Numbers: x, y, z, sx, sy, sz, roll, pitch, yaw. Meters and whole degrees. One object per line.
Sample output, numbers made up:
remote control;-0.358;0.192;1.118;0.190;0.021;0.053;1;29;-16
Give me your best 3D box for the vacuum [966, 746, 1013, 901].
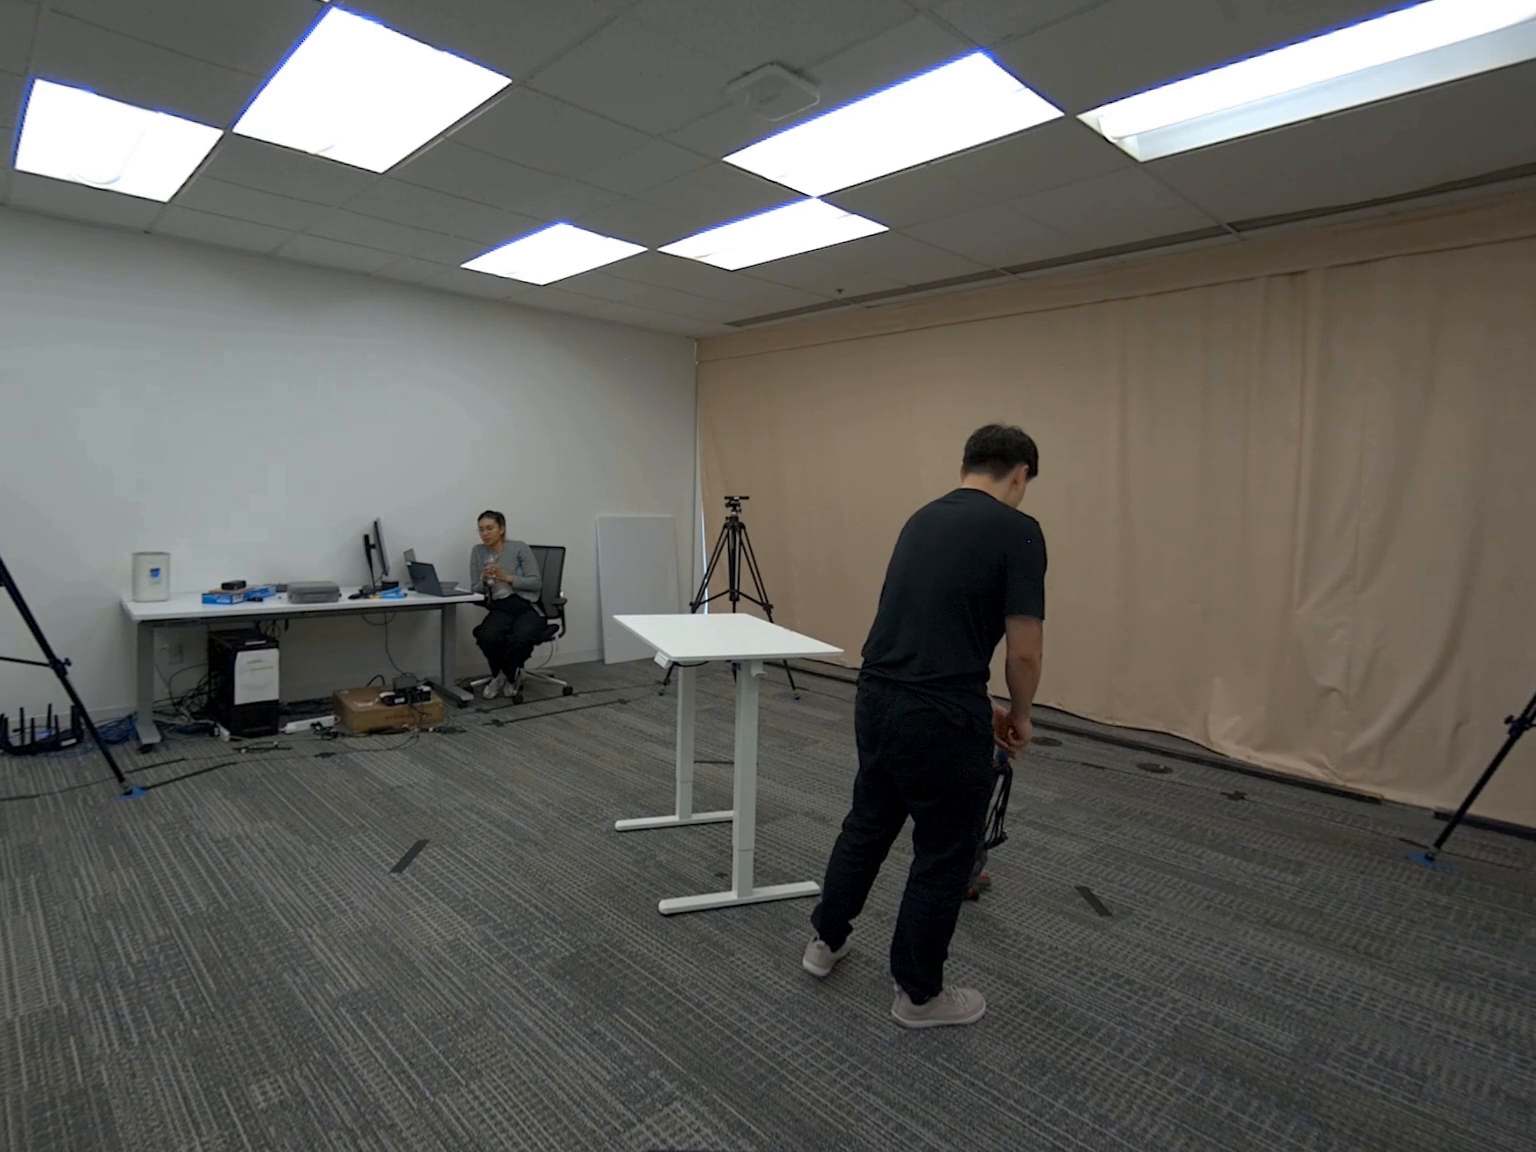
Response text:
vacuum;0.663;0.783;2.645;0.254;0.146;1.025;4;-40;6
